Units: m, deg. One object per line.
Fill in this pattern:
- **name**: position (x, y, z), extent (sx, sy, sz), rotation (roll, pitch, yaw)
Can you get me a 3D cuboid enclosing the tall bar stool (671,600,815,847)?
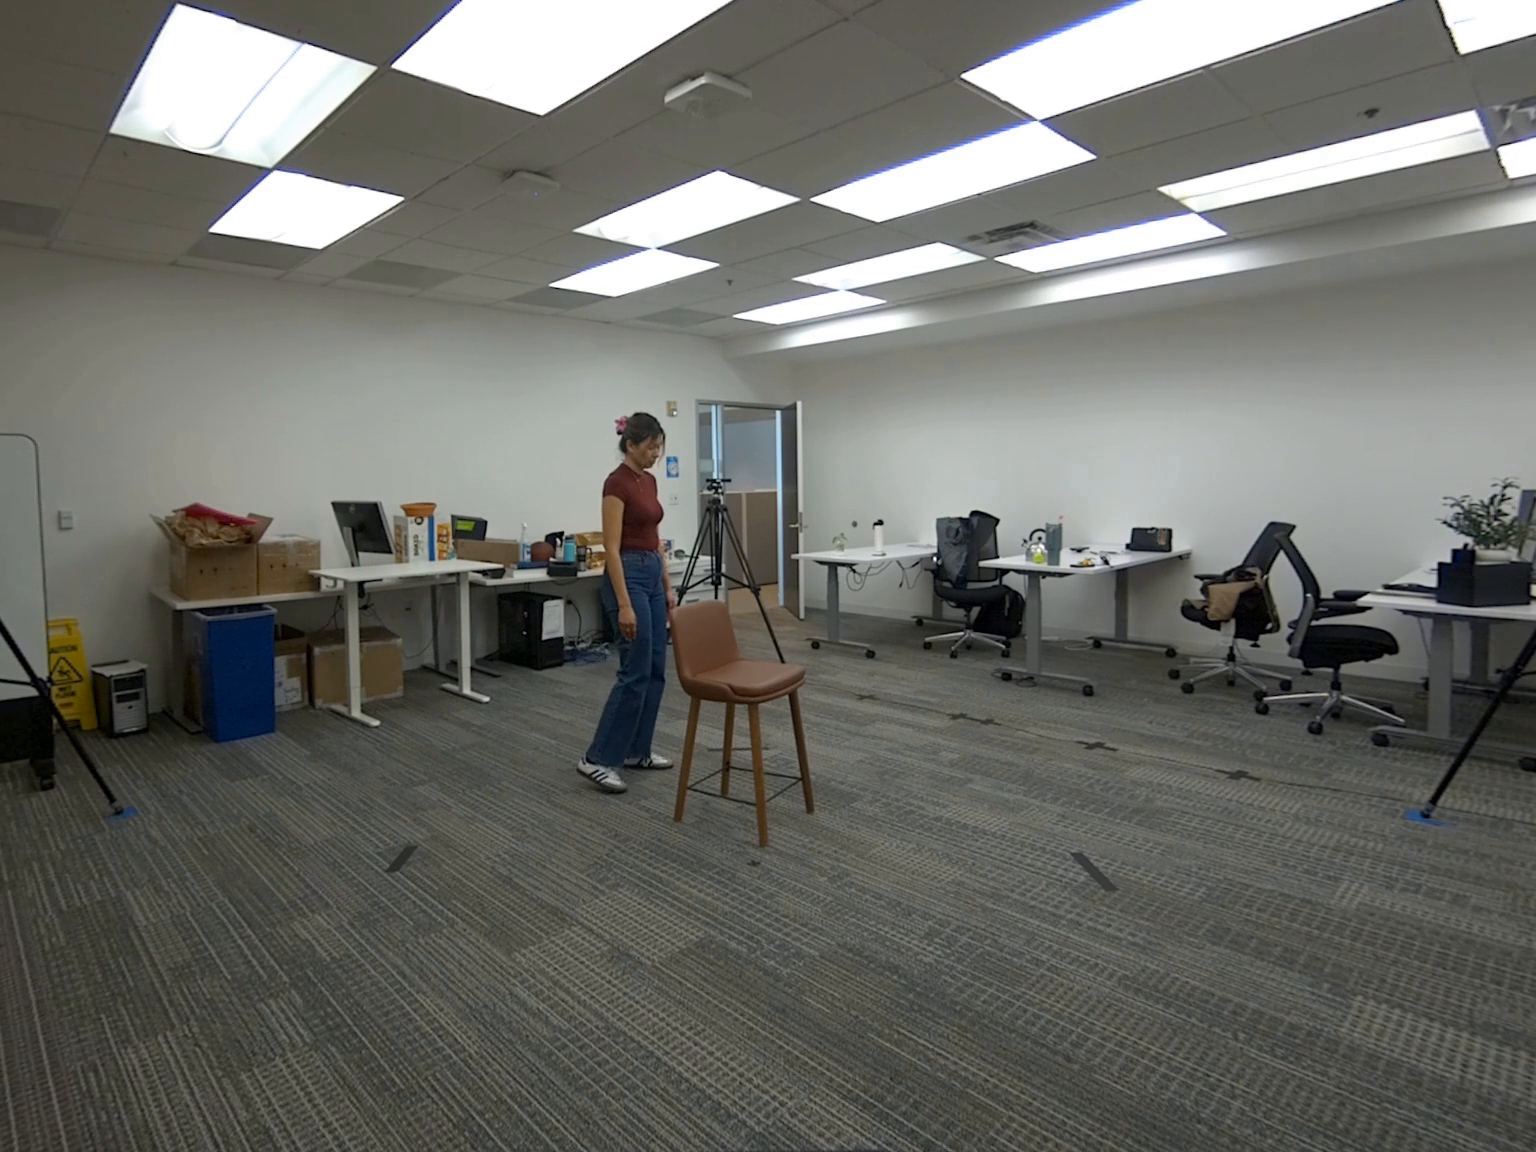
- **tall bar stool**: position (-0.114, 0.564, 3.514), extent (0.480, 0.888, 0.445), rotation (-1, 3, 33)
